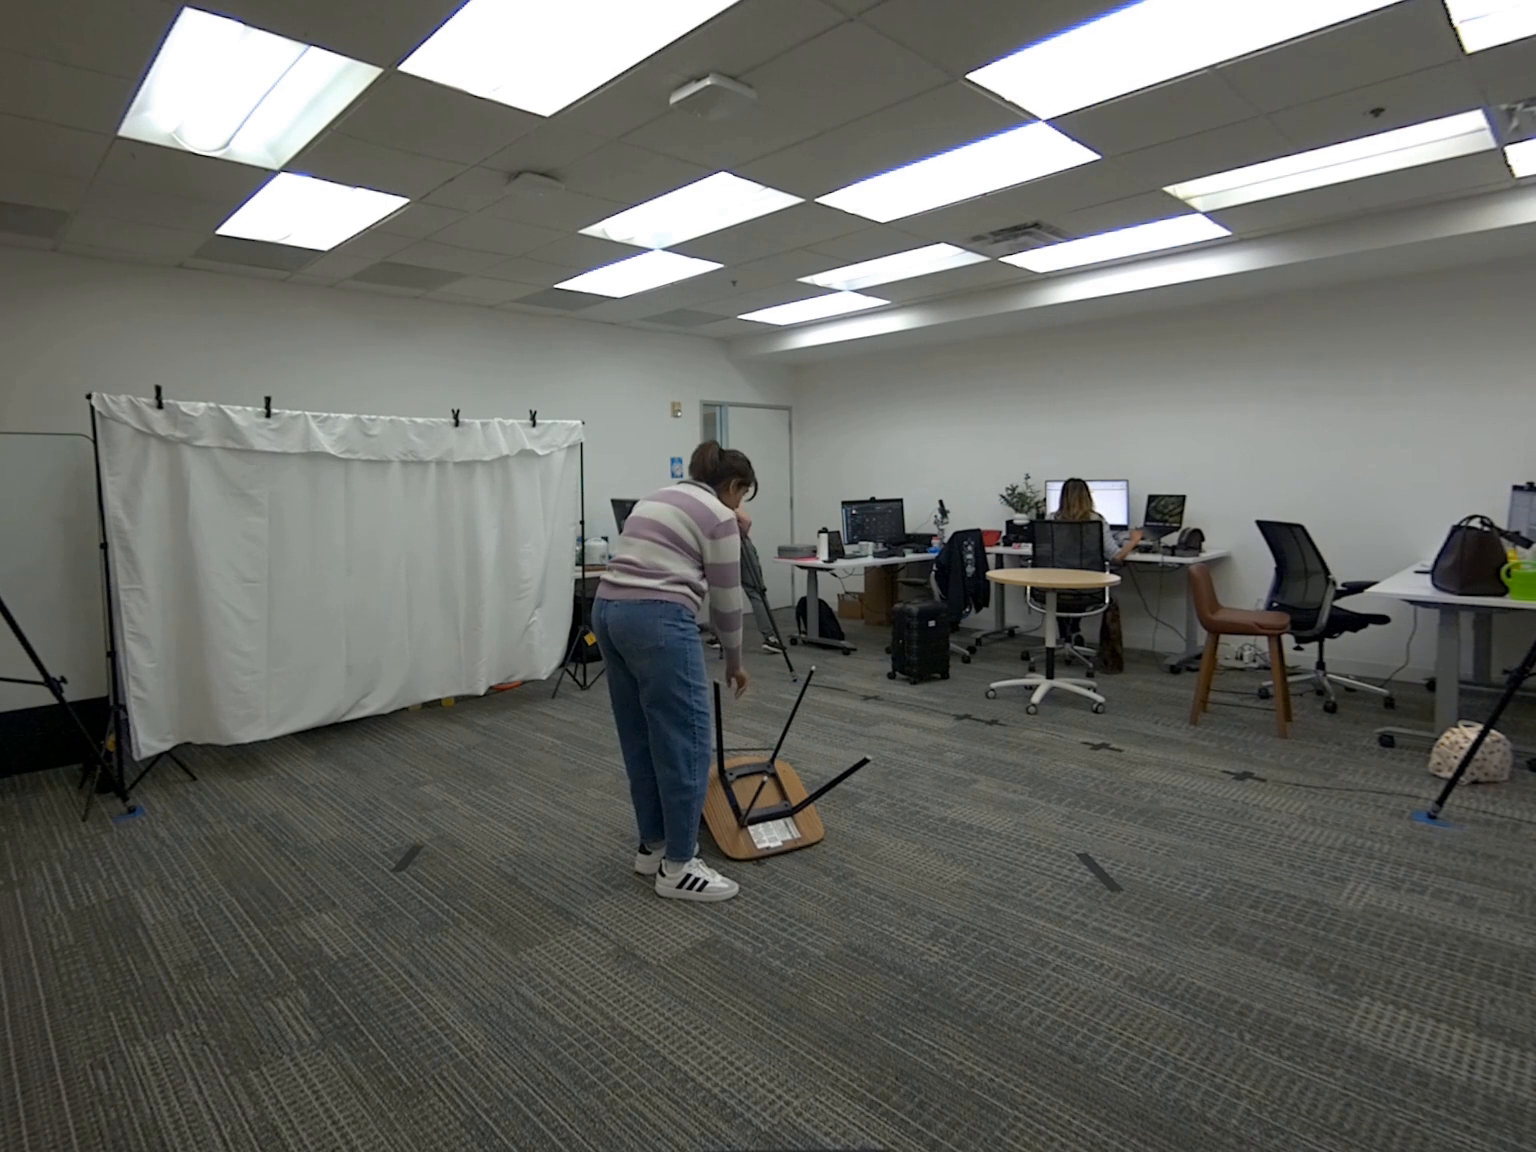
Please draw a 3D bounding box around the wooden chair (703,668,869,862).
[{"bbox_3d":[-0.038,0.851,3.347,0.467,0.866,0.542,-3,46,-31],"label":"wooden chair"}]
